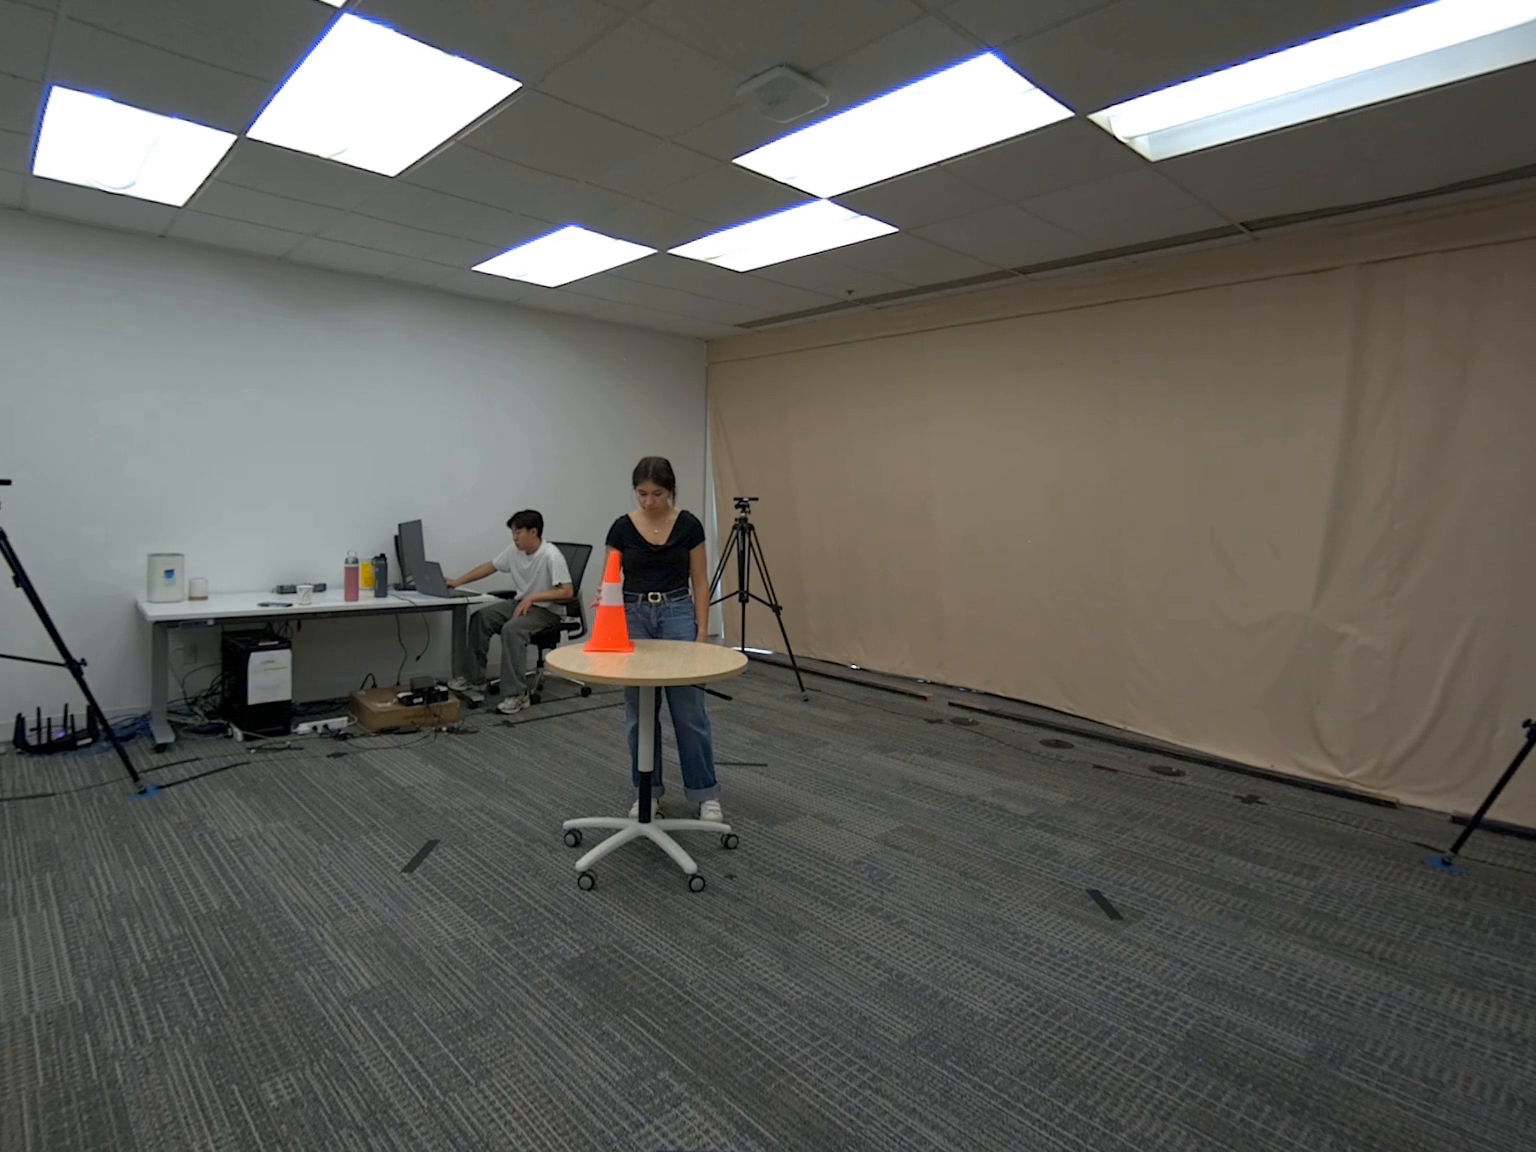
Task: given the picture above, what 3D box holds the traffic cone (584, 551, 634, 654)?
[{"bbox_3d":[-0.644,0.094,3.369,0.202,0.383,0.206,5,1,-9],"label":"traffic cone"}]
